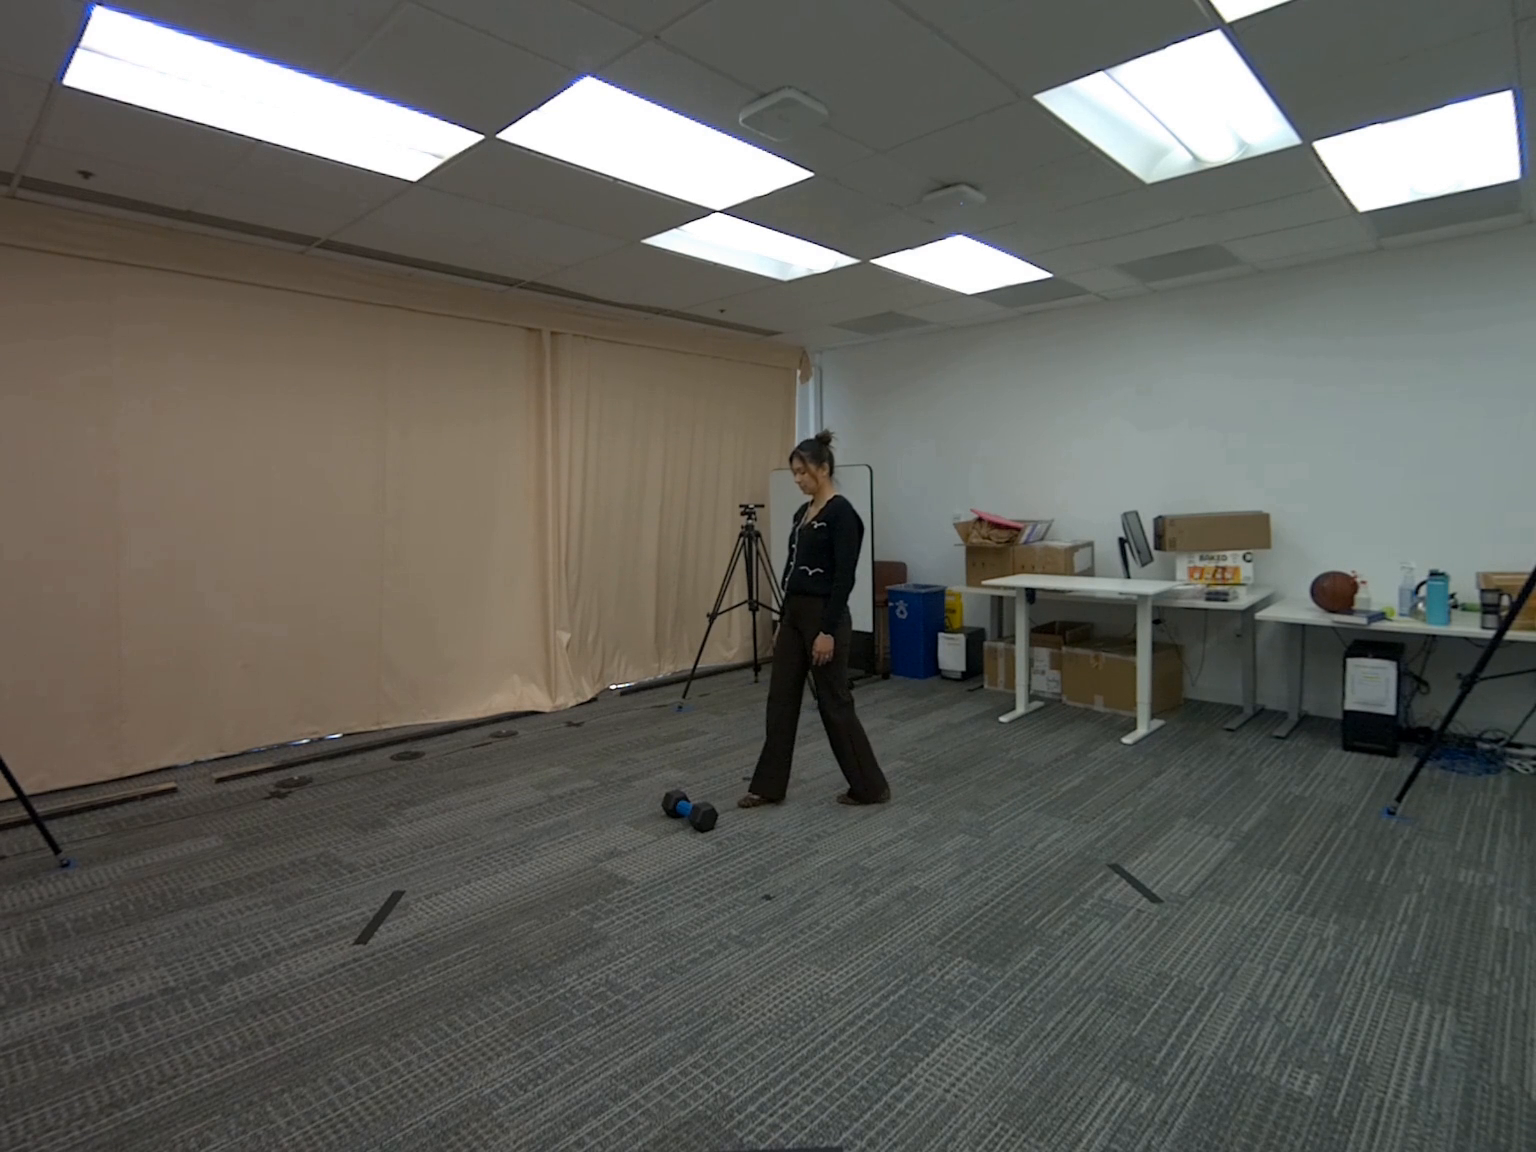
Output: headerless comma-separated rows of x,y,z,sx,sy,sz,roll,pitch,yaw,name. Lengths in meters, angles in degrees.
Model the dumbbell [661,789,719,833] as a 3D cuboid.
-0.345,1.030,3.705,0.105,0.123,0.303,34,-18,-35,dumbbell
